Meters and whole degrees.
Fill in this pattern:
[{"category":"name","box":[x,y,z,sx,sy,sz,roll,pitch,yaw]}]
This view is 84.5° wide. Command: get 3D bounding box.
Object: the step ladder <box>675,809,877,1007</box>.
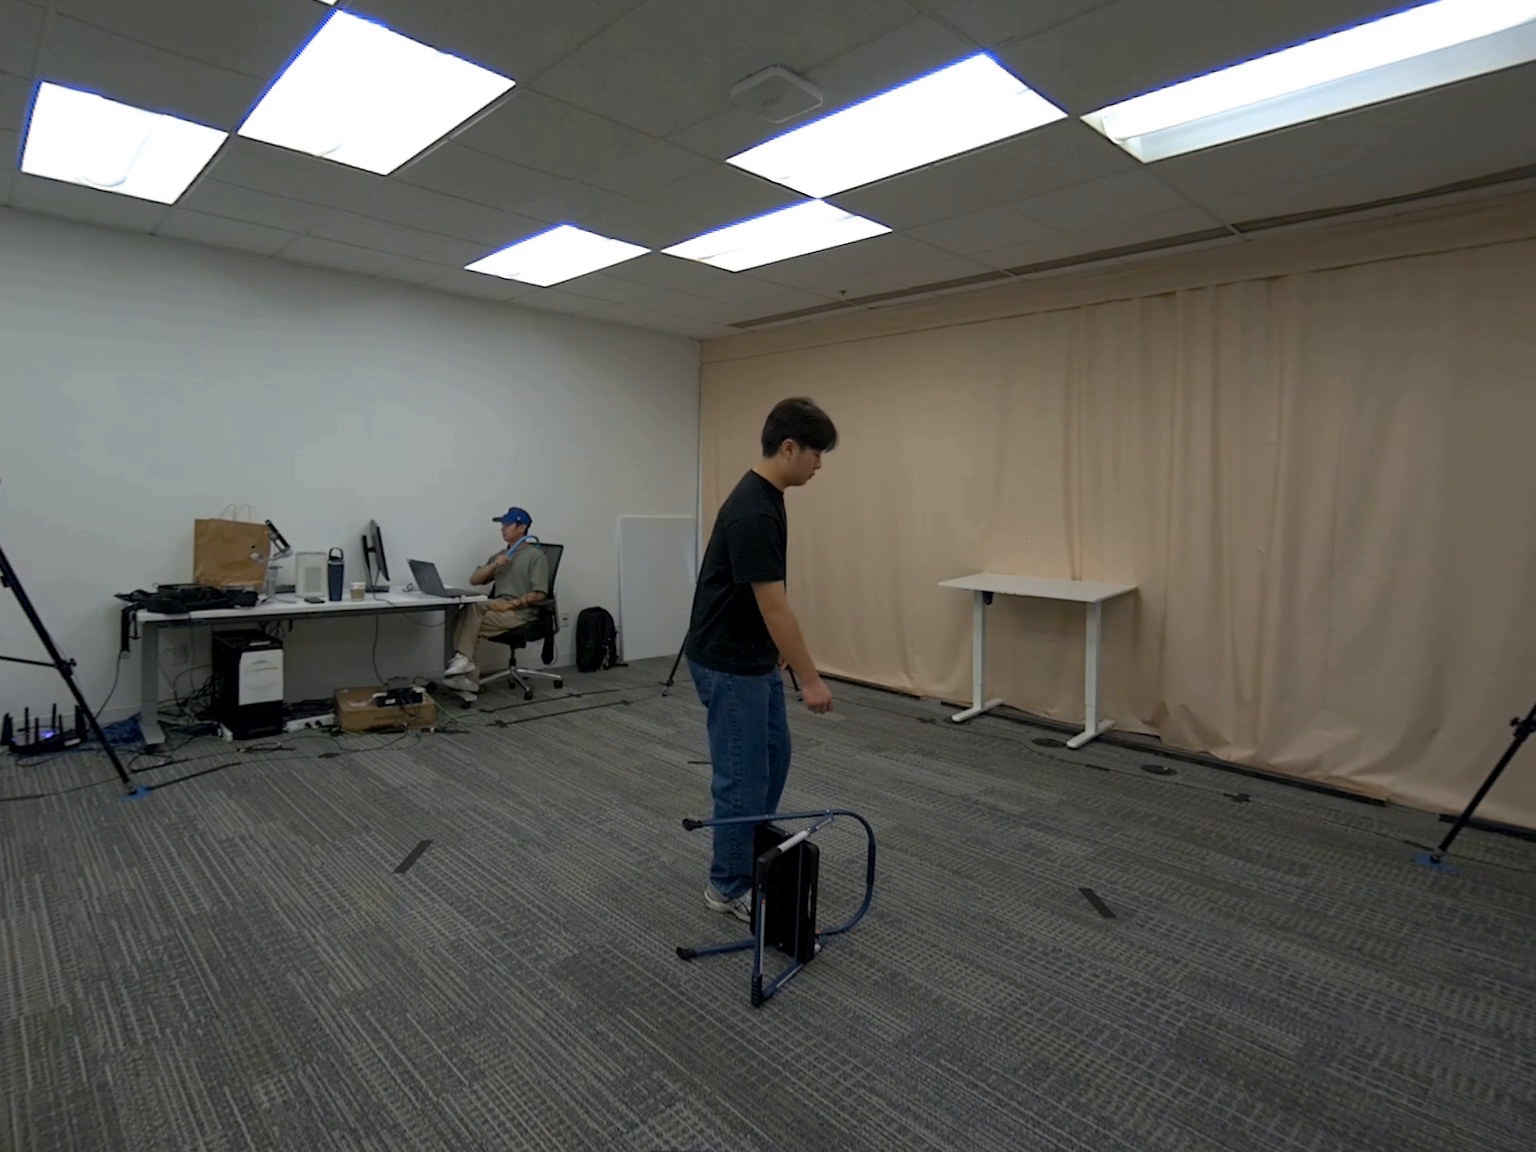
[{"category":"step ladder","box":[0.068,0.947,2.602,0.592,0.429,0.358,-2,6,-43]}]
